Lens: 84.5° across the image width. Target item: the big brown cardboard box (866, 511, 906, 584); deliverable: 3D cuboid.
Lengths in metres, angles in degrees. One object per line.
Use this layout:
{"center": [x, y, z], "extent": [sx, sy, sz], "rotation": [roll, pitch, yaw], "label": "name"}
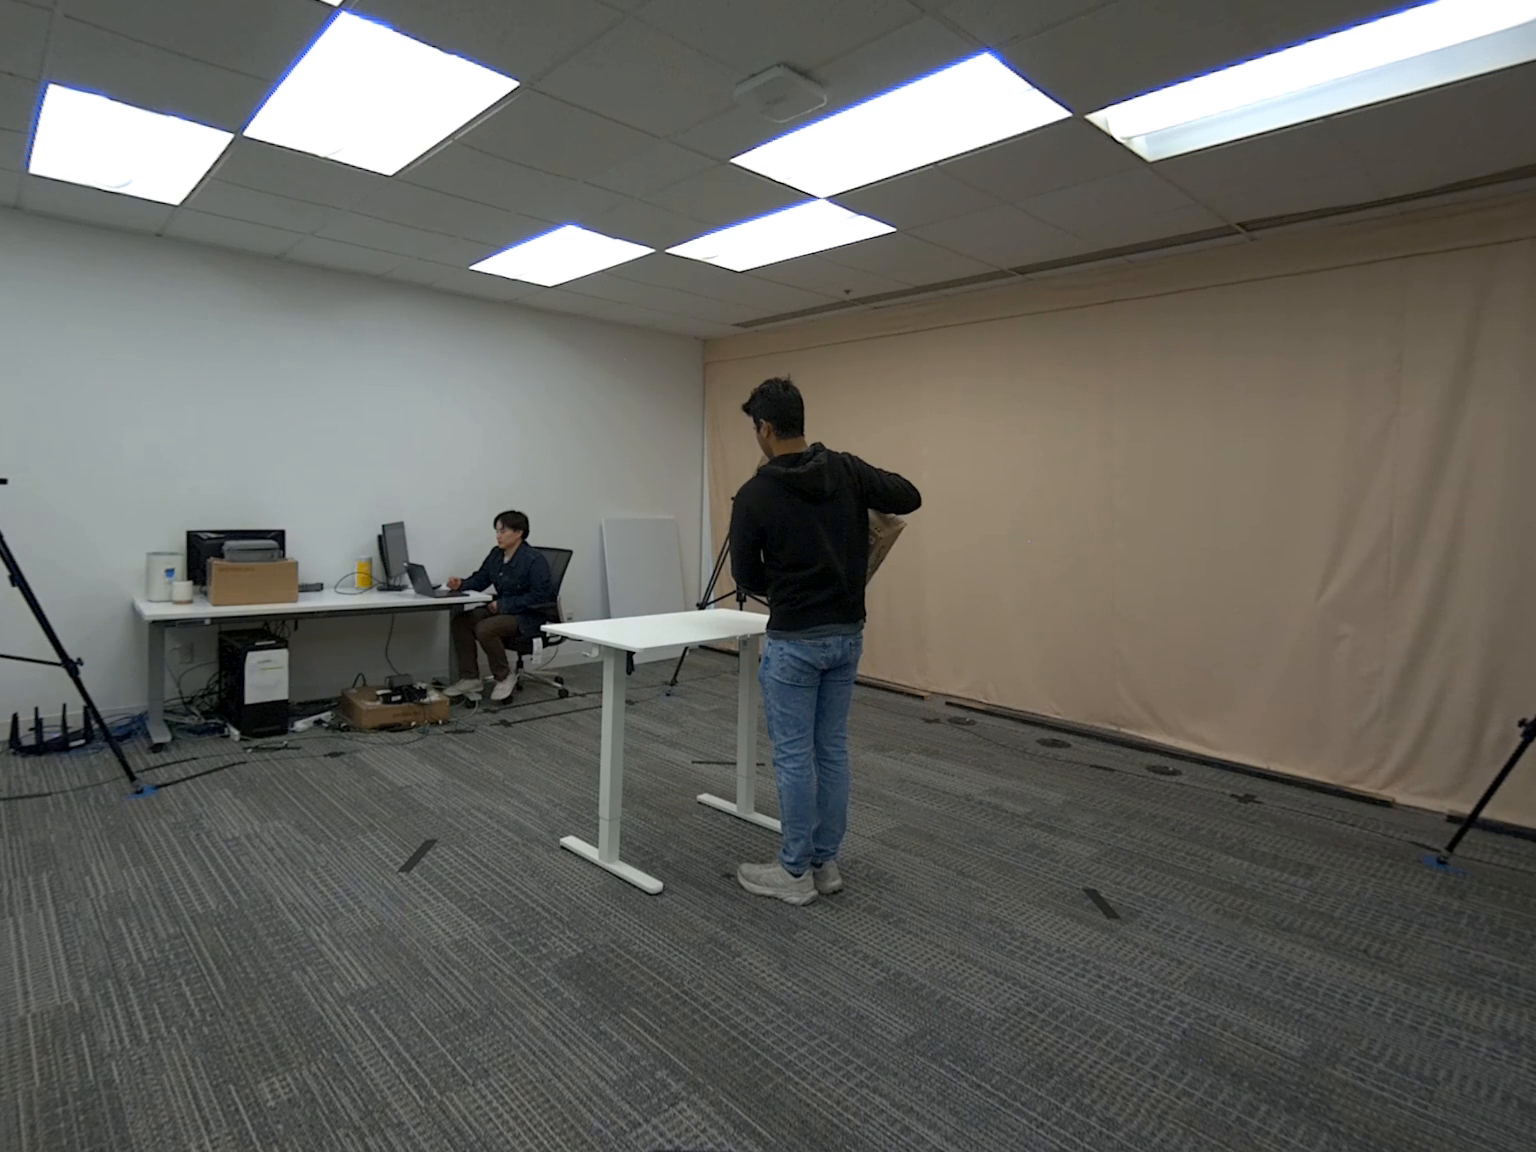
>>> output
{"center": [0.172, -0.190, 3.267], "extent": [0.602, 0.414, 0.230], "rotation": [42, 36, 21], "label": "big brown cardboard box"}
